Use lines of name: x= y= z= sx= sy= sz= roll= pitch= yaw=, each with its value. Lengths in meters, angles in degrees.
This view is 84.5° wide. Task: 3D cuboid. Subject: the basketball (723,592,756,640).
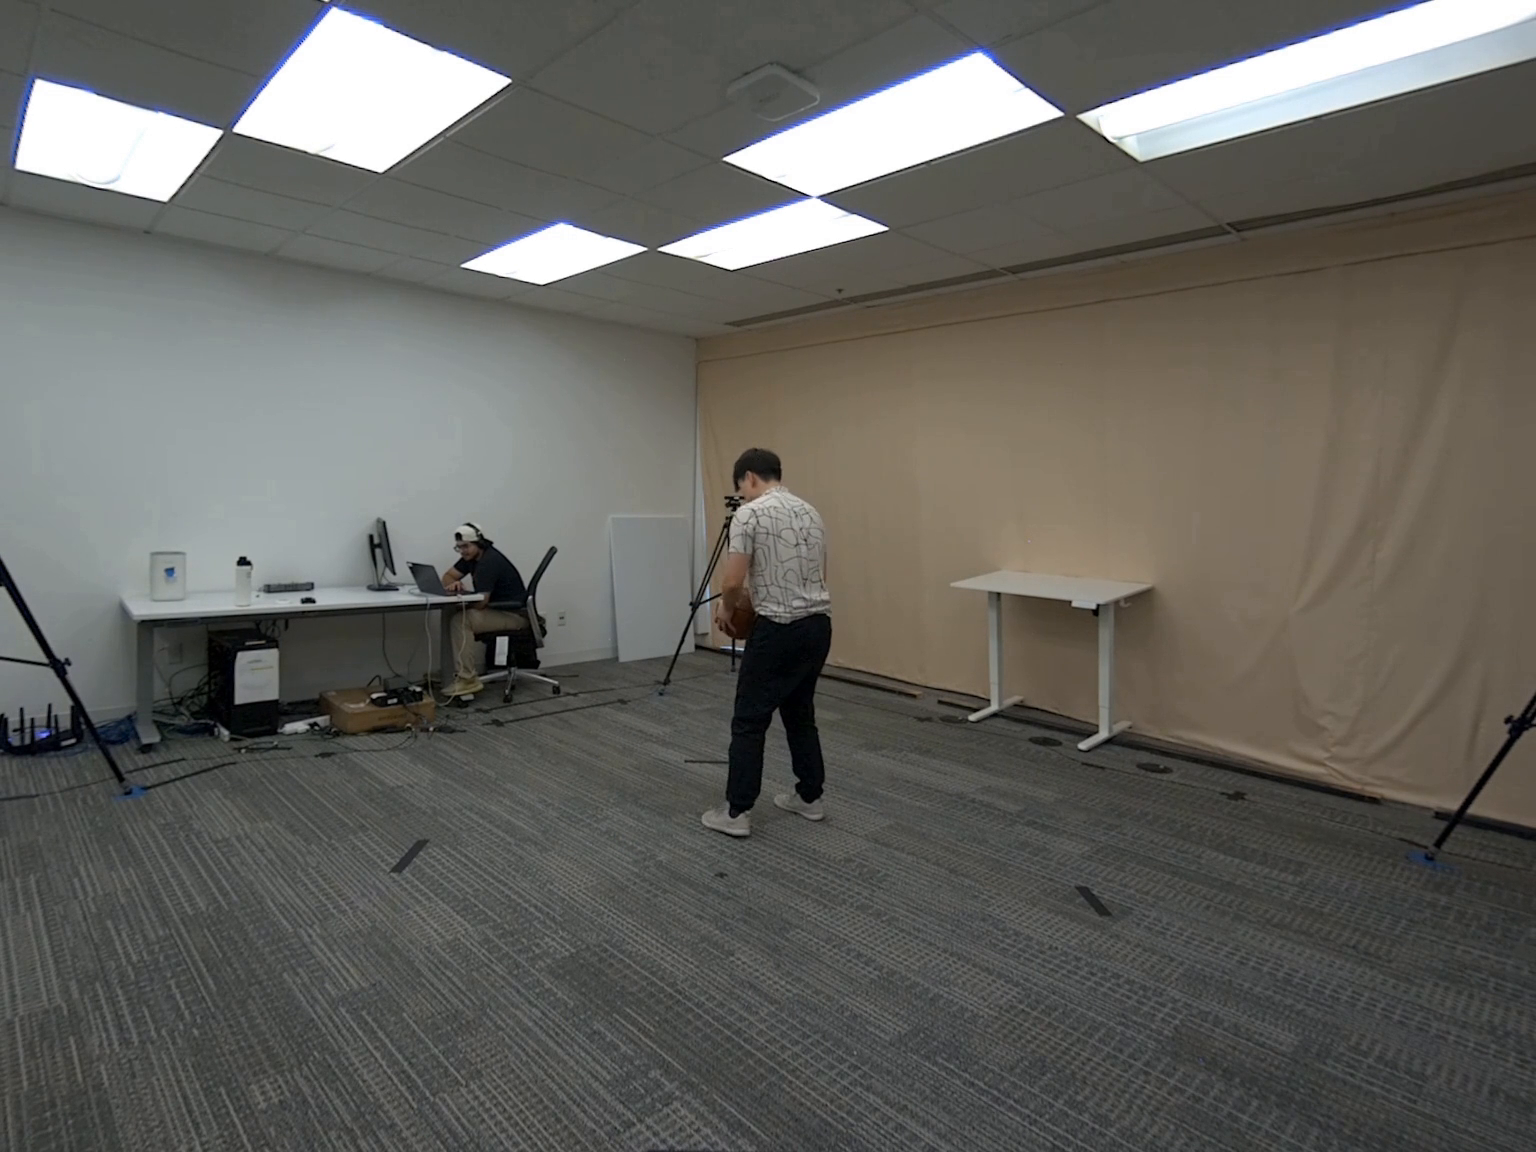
basketball: x=-0.111 y=0.172 z=3.820 sx=0.236 sy=0.235 sz=0.237 roll=1 pitch=4 yaw=-1
